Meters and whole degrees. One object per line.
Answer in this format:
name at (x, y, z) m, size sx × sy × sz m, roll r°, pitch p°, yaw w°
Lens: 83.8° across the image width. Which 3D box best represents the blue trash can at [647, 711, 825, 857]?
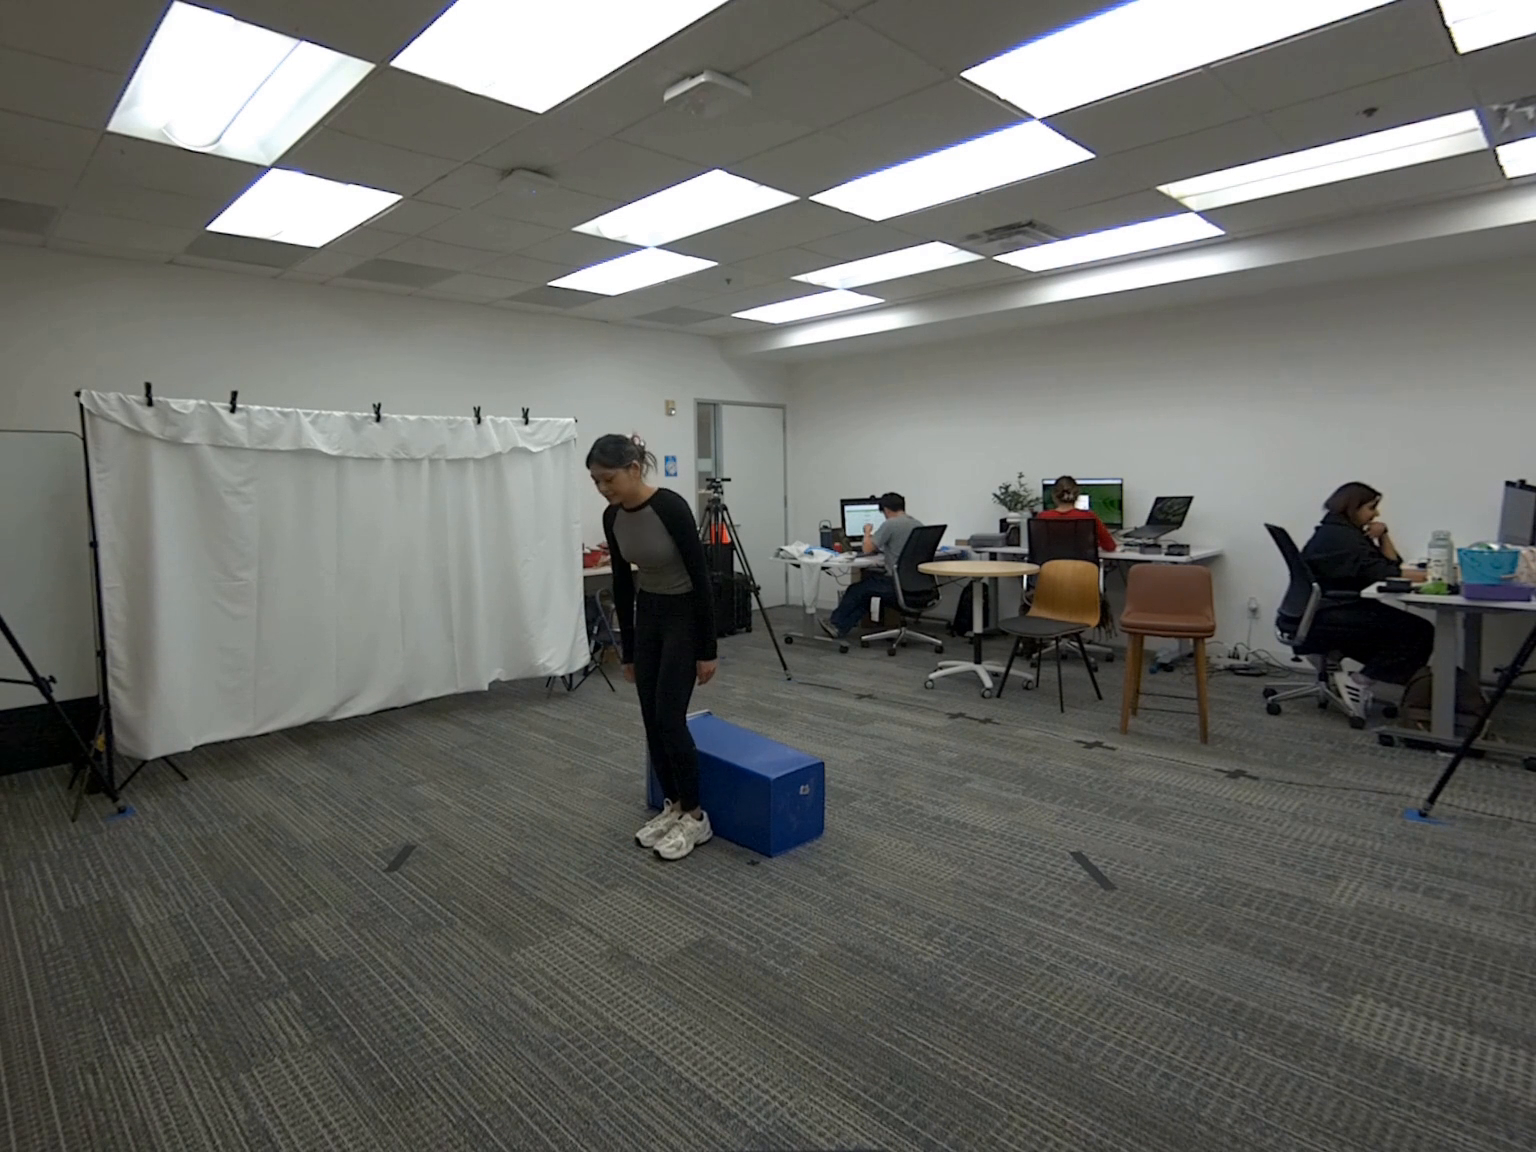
blue trash can at (-0.132, 0.829, 3.486) m, size 0.368 × 0.372 × 0.736 m, roll -5°, pitch 9°, yaw -44°
